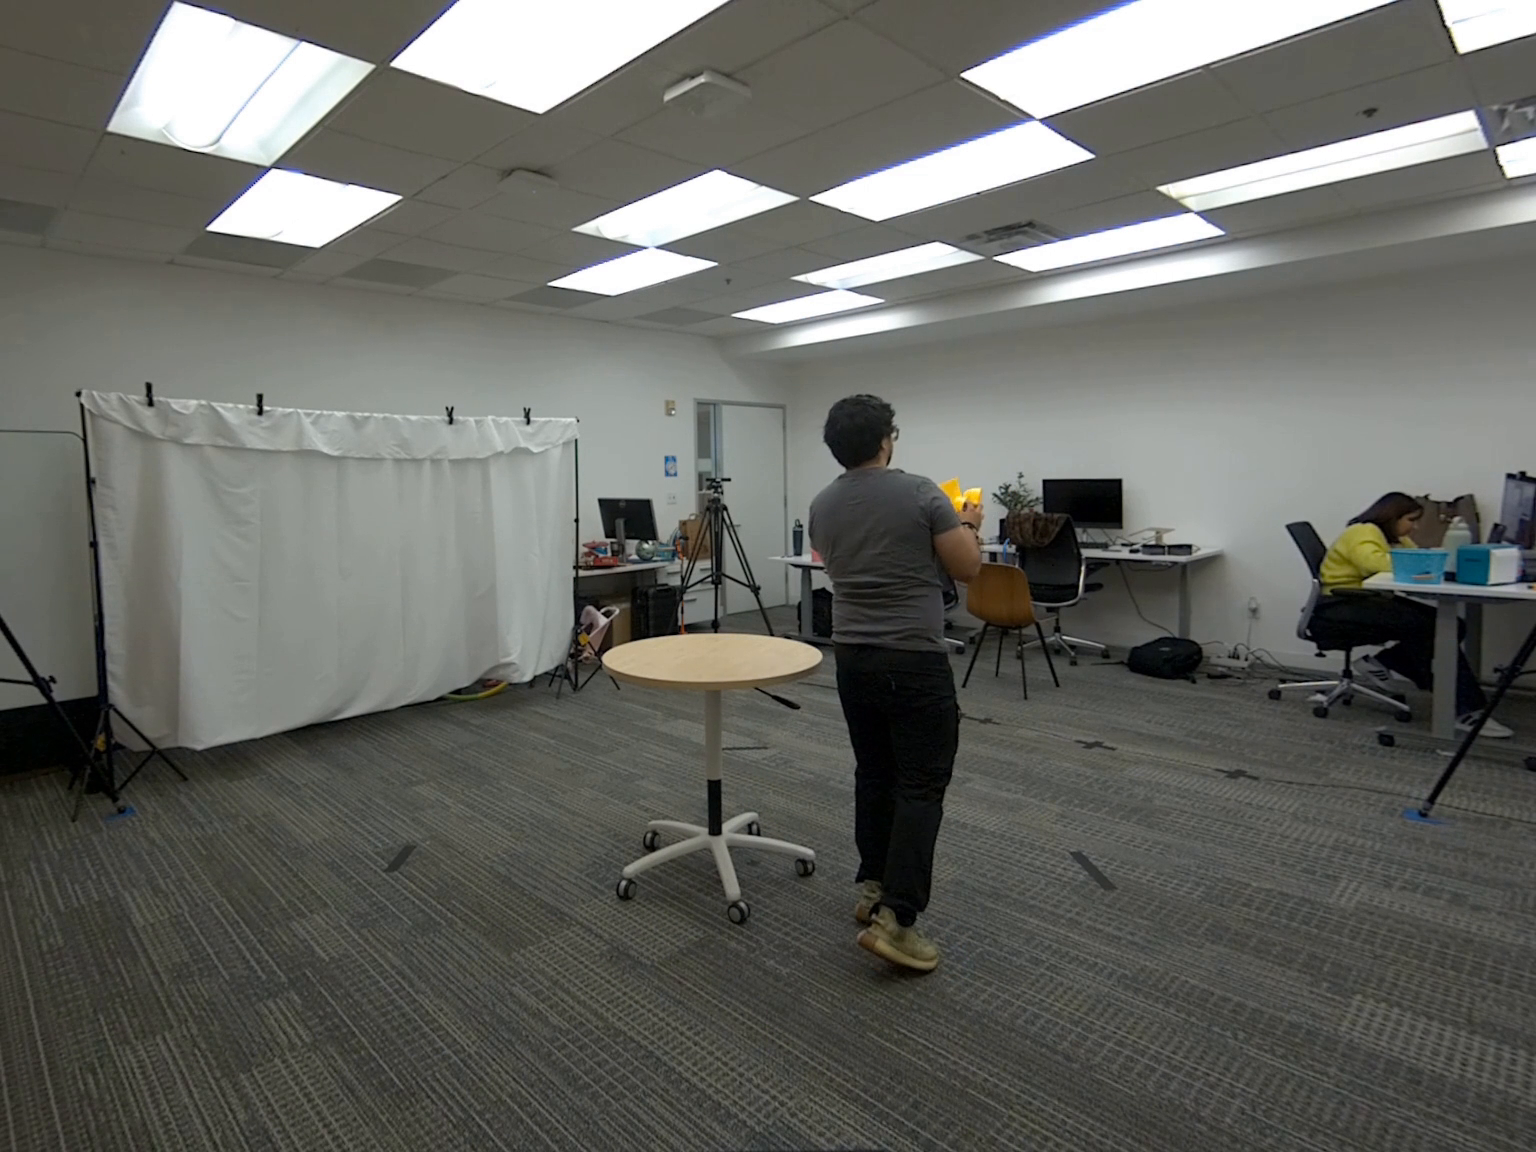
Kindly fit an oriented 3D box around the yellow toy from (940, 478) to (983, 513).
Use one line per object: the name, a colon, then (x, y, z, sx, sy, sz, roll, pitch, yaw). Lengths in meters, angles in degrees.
yellow toy: (0.599, -0.211, 2.929, 0.235, 0.207, 0.187, 6, -14, 18)
